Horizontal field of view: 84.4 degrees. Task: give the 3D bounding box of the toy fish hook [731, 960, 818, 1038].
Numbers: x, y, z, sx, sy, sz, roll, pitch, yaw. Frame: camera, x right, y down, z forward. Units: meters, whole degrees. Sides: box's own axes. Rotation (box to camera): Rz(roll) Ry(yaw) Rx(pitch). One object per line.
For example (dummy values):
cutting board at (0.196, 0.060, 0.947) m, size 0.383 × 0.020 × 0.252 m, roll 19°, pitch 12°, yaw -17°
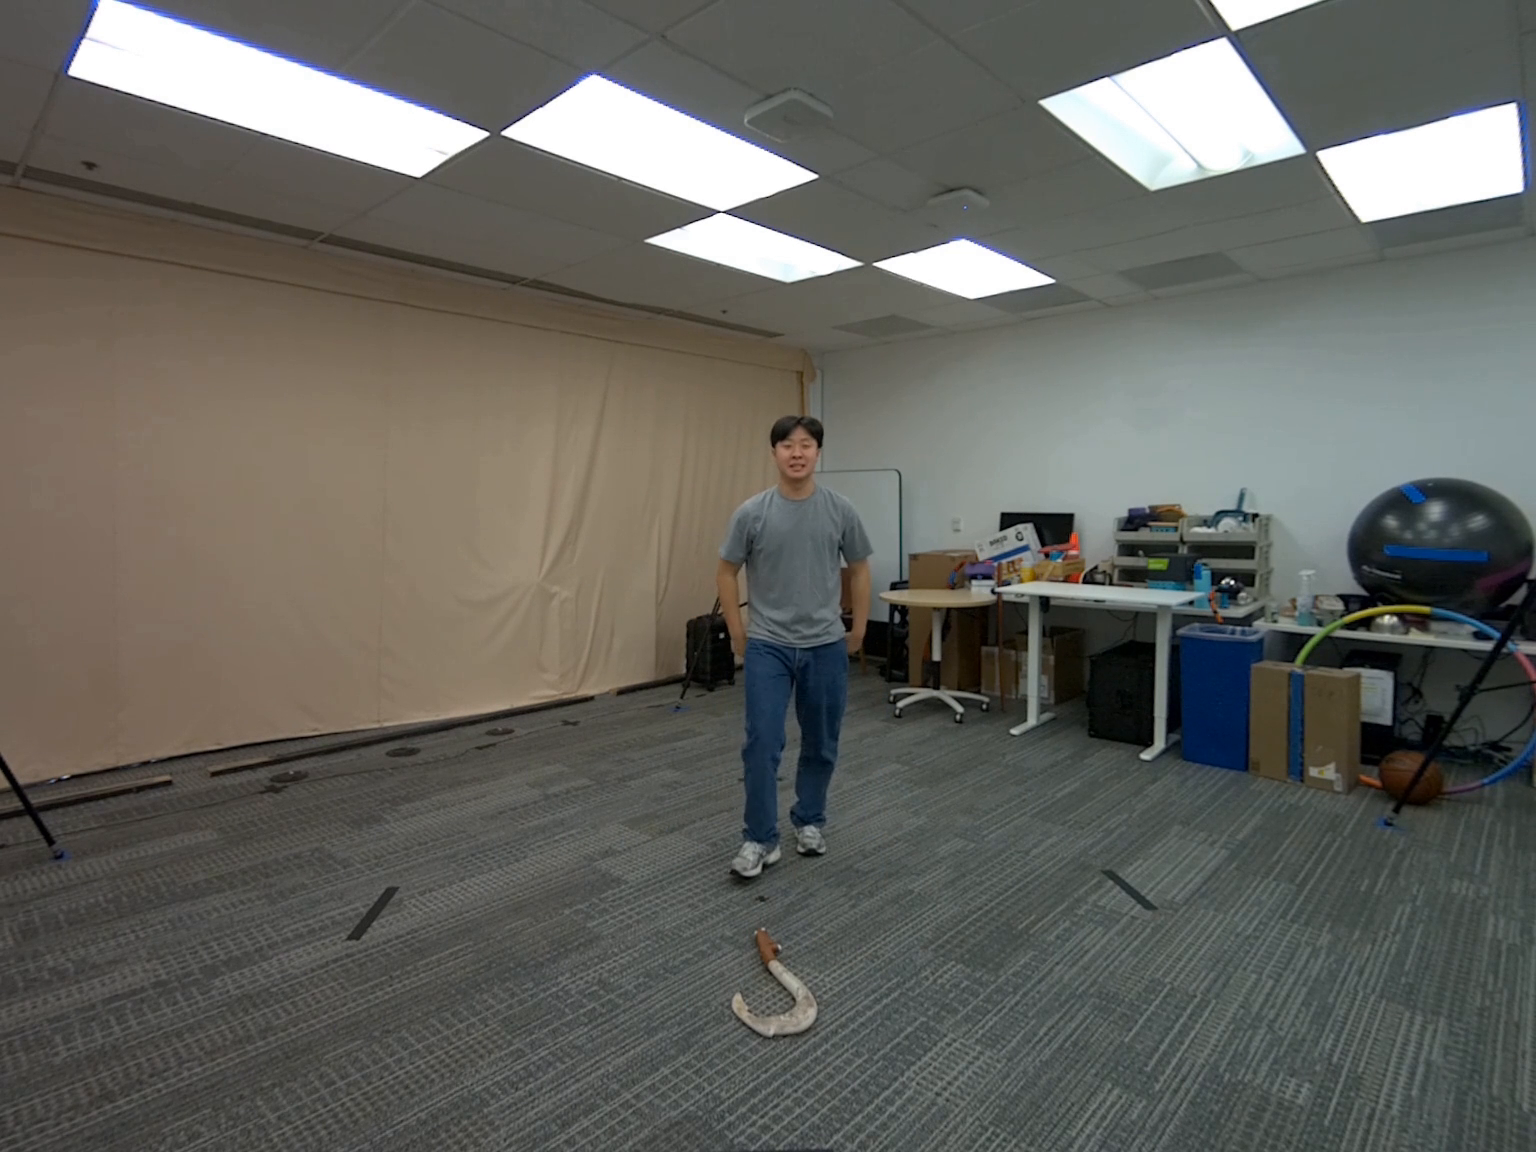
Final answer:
toy fish hook at (-0.012, 1.160, 2.445) m, size 0.222 × 0.048 × 0.514 m, roll 1°, pitch 4°, yaw -13°
